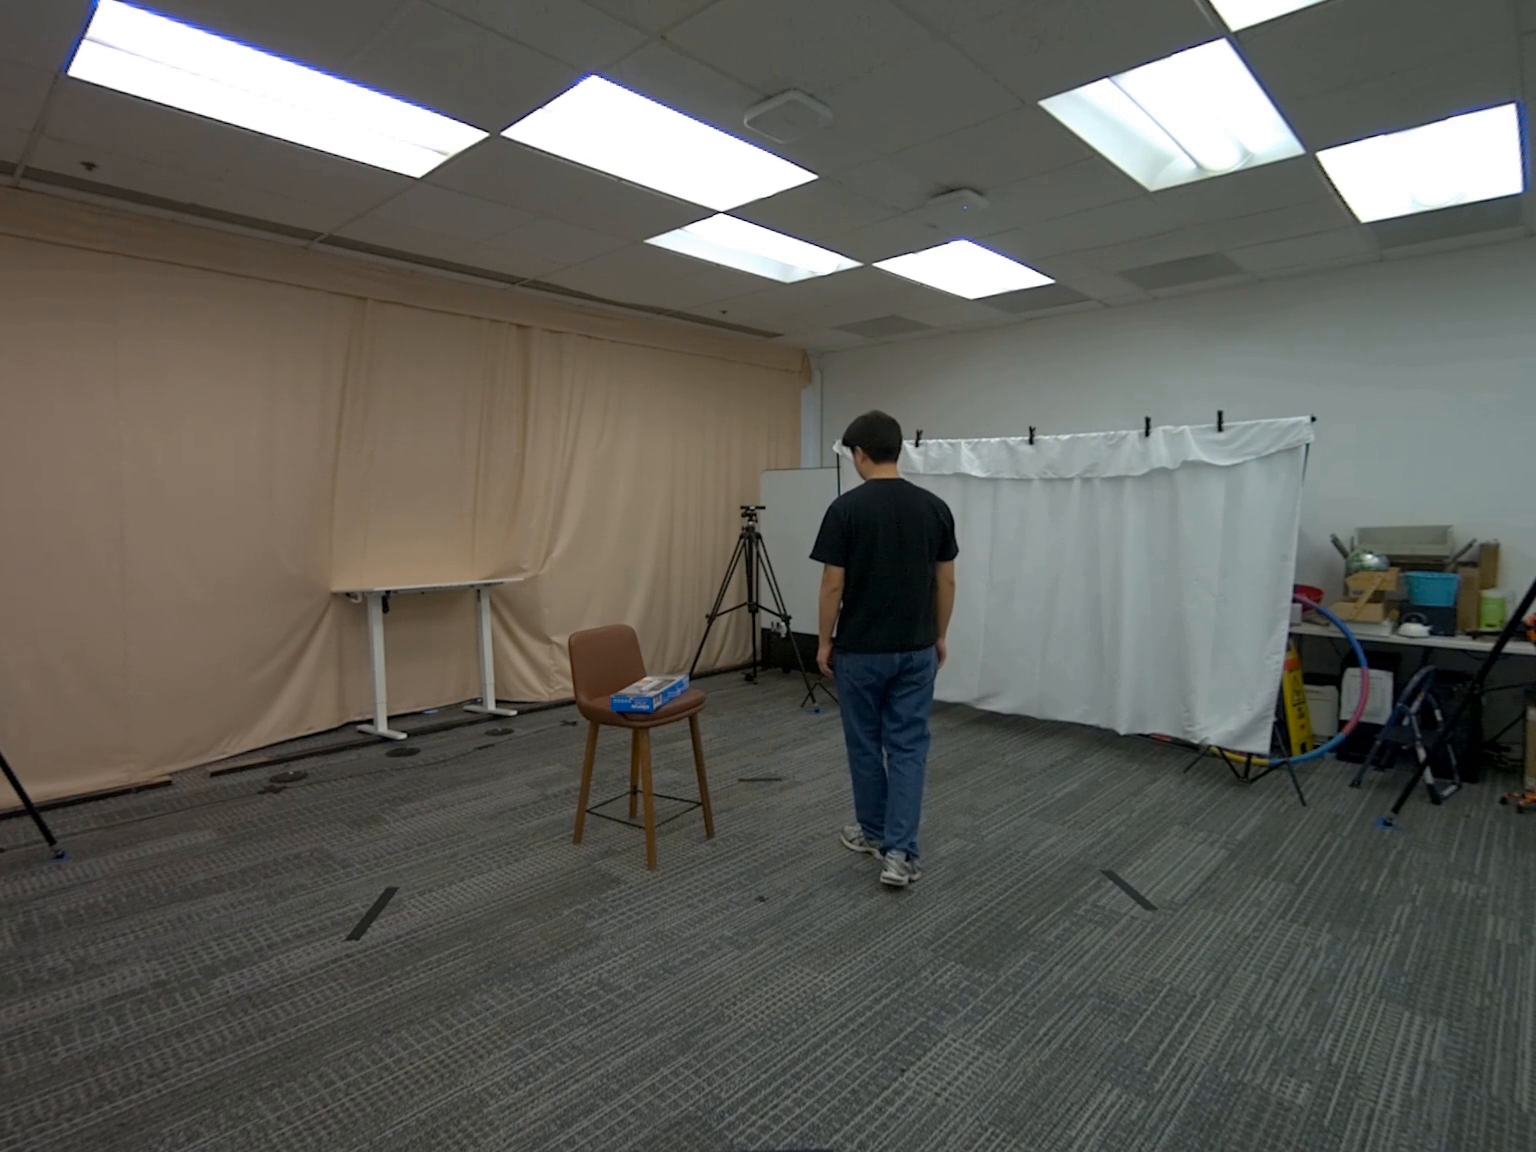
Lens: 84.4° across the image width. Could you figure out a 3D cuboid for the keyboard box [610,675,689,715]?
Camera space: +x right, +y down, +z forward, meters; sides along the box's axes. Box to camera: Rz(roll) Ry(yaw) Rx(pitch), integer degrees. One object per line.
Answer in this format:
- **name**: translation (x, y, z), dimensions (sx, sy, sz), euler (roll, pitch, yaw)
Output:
- **keyboard box**: translation (-0.469, 0.467, 3.413), dimensions (0.179, 0.059, 0.430), euler (-1, 5, 15)
